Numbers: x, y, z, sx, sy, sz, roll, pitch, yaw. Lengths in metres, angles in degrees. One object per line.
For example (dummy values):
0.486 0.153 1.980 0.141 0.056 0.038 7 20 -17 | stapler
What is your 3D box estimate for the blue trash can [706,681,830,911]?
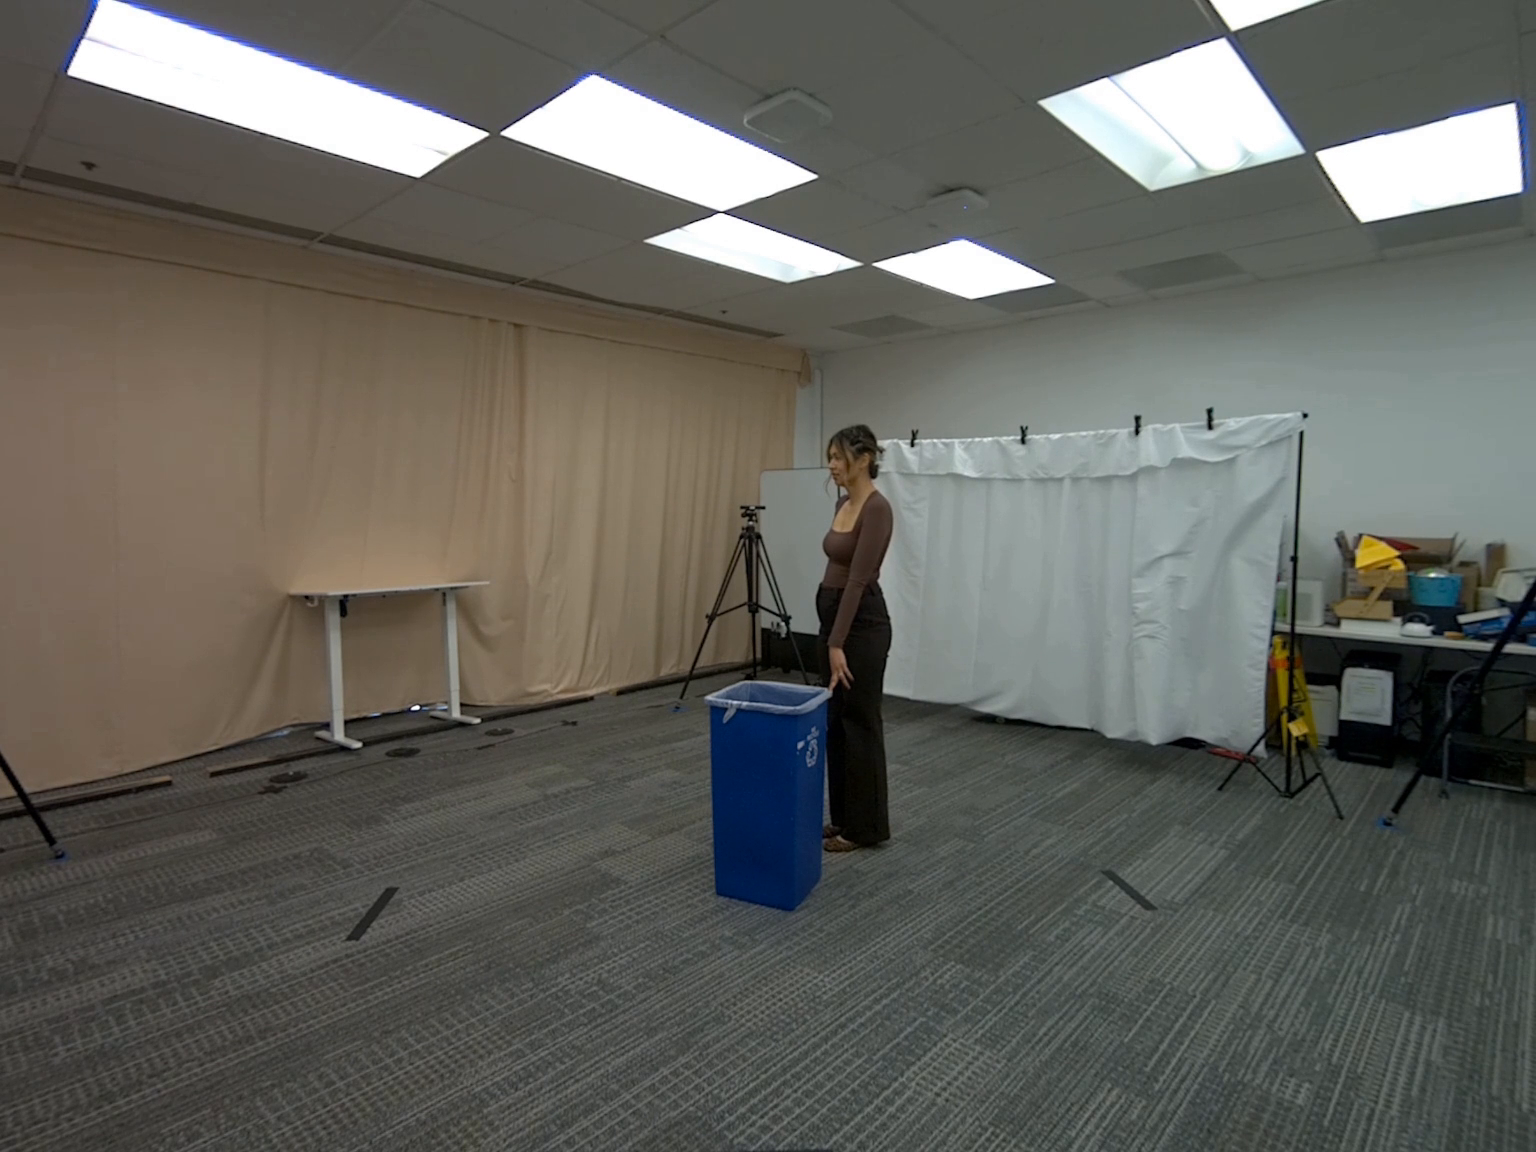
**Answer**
0.007 0.778 3.070 0.388 0.712 0.365 2 4 25 | blue trash can
